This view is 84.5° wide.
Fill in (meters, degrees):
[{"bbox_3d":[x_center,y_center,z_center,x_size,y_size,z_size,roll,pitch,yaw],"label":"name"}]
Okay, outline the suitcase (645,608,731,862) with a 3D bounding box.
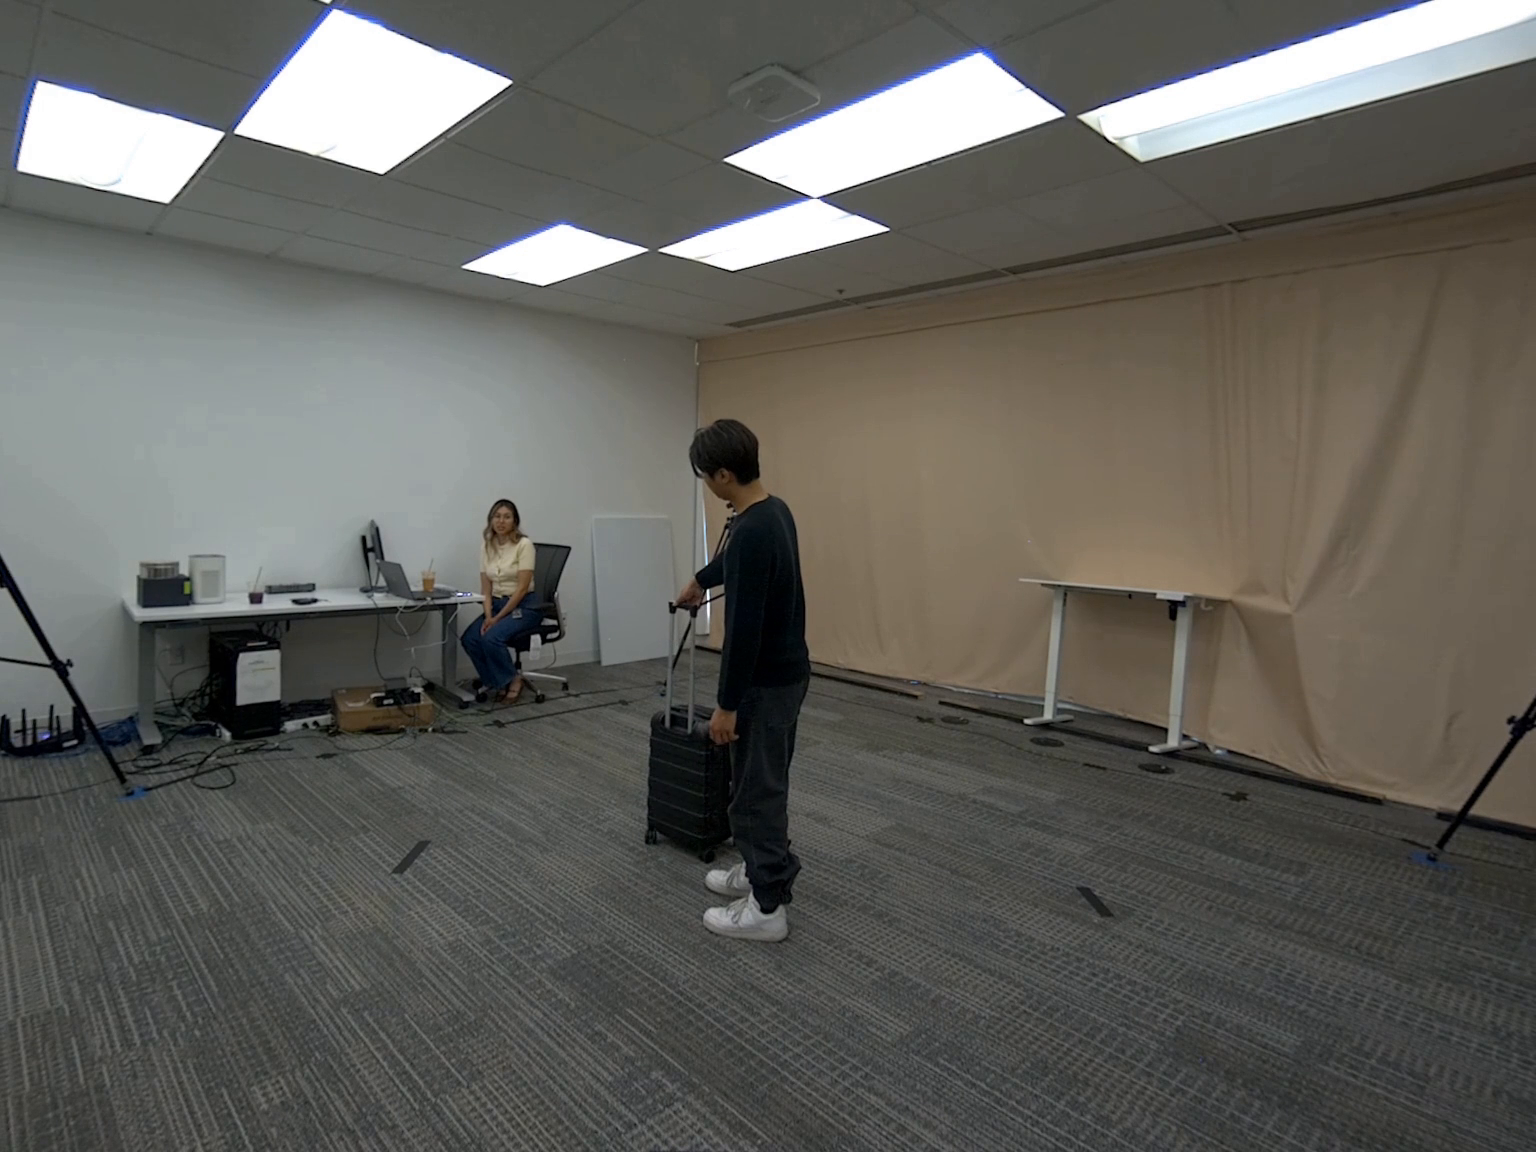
[{"bbox_3d":[-0.290,0.606,3.374,0.394,0.977,0.251,4,2,41],"label":"suitcase"}]
